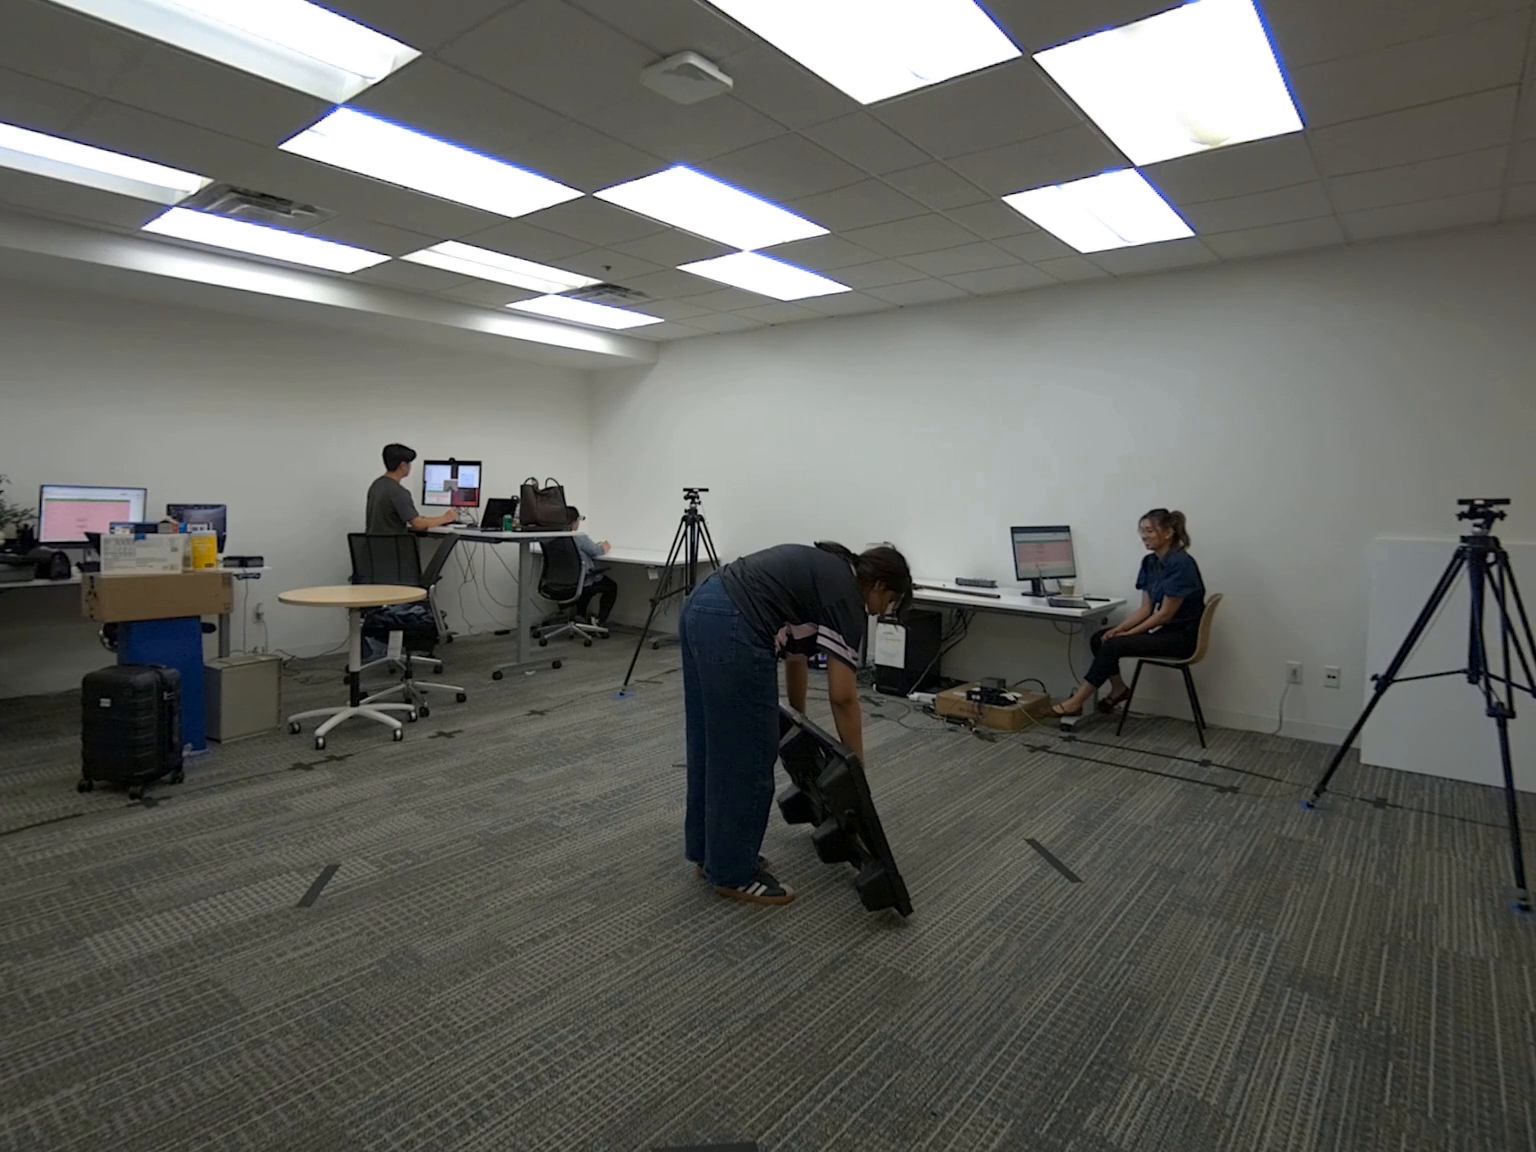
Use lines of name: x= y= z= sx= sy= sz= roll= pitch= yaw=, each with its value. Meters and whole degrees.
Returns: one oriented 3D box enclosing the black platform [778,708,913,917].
black platform: x=0.172 y=0.788 z=3.046 sx=0.142 sy=0.597 sz=0.825 roll=-21 pitch=13 yaw=-17
